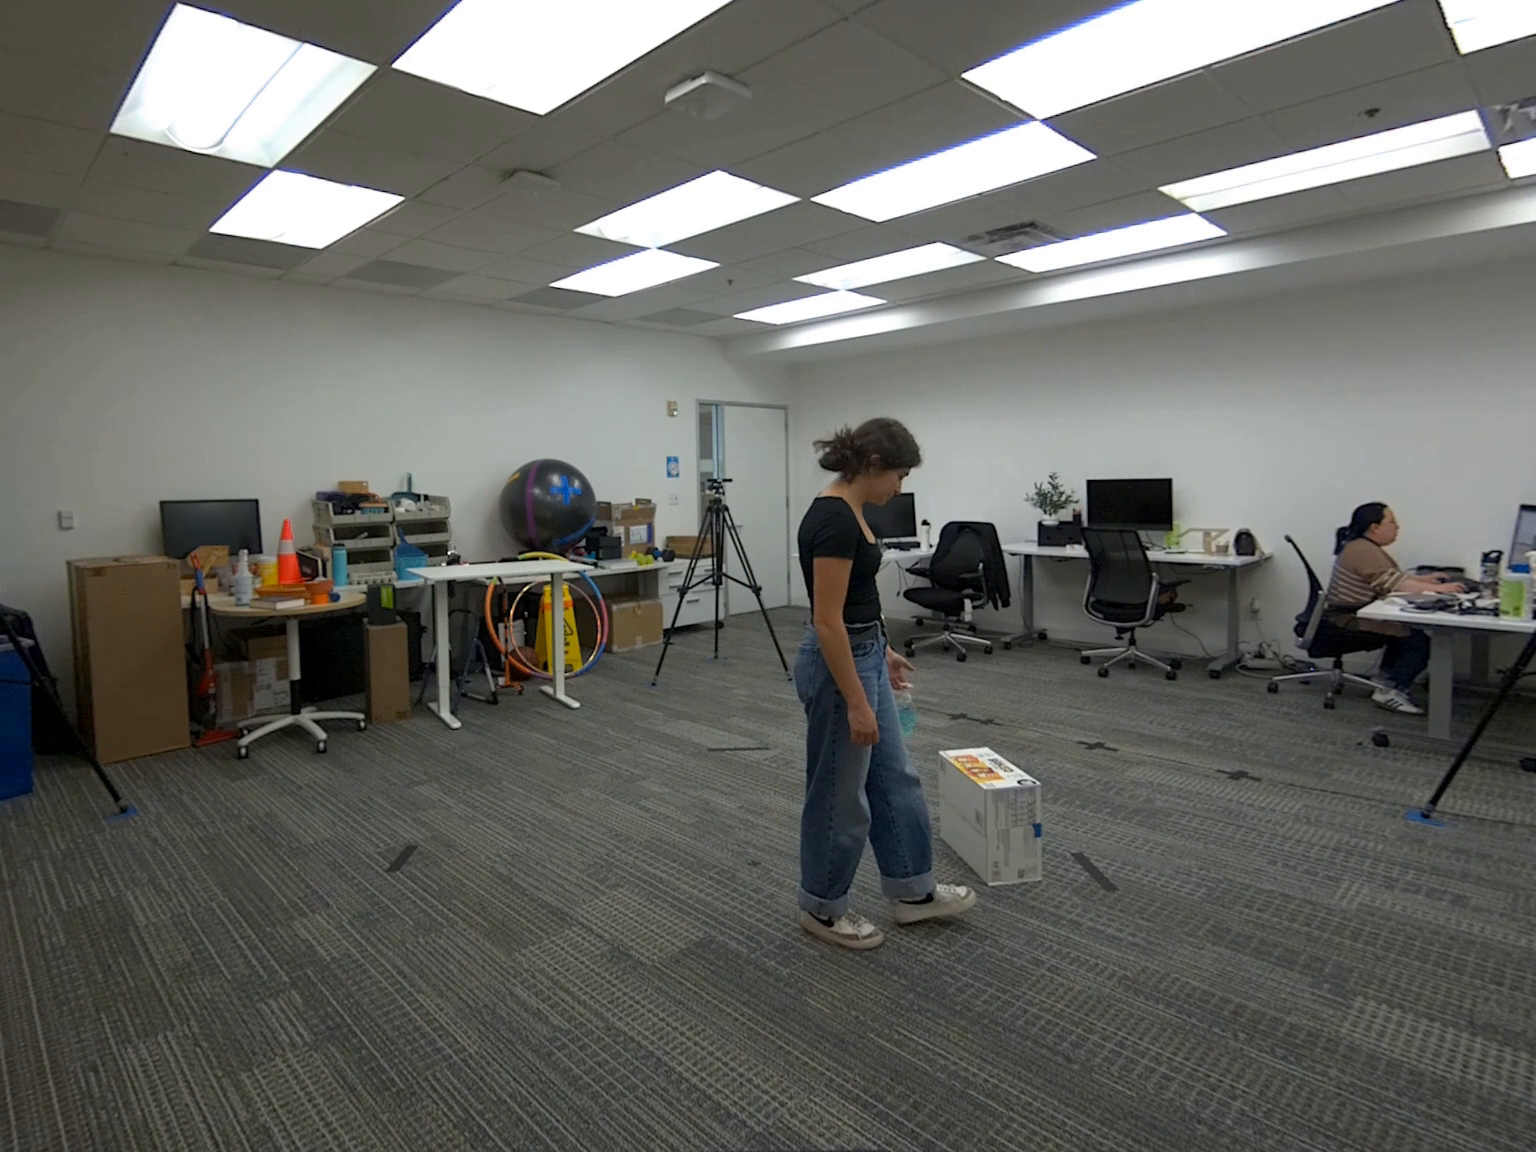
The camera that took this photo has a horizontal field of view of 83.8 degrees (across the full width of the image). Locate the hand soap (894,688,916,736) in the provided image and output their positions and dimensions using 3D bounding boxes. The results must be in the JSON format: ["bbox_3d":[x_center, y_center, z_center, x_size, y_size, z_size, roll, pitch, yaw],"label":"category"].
[{"bbox_3d":[0.441,0.431,2.765,0.084,0.167,0.044,9,4,-5],"label":"hand soap"}]
